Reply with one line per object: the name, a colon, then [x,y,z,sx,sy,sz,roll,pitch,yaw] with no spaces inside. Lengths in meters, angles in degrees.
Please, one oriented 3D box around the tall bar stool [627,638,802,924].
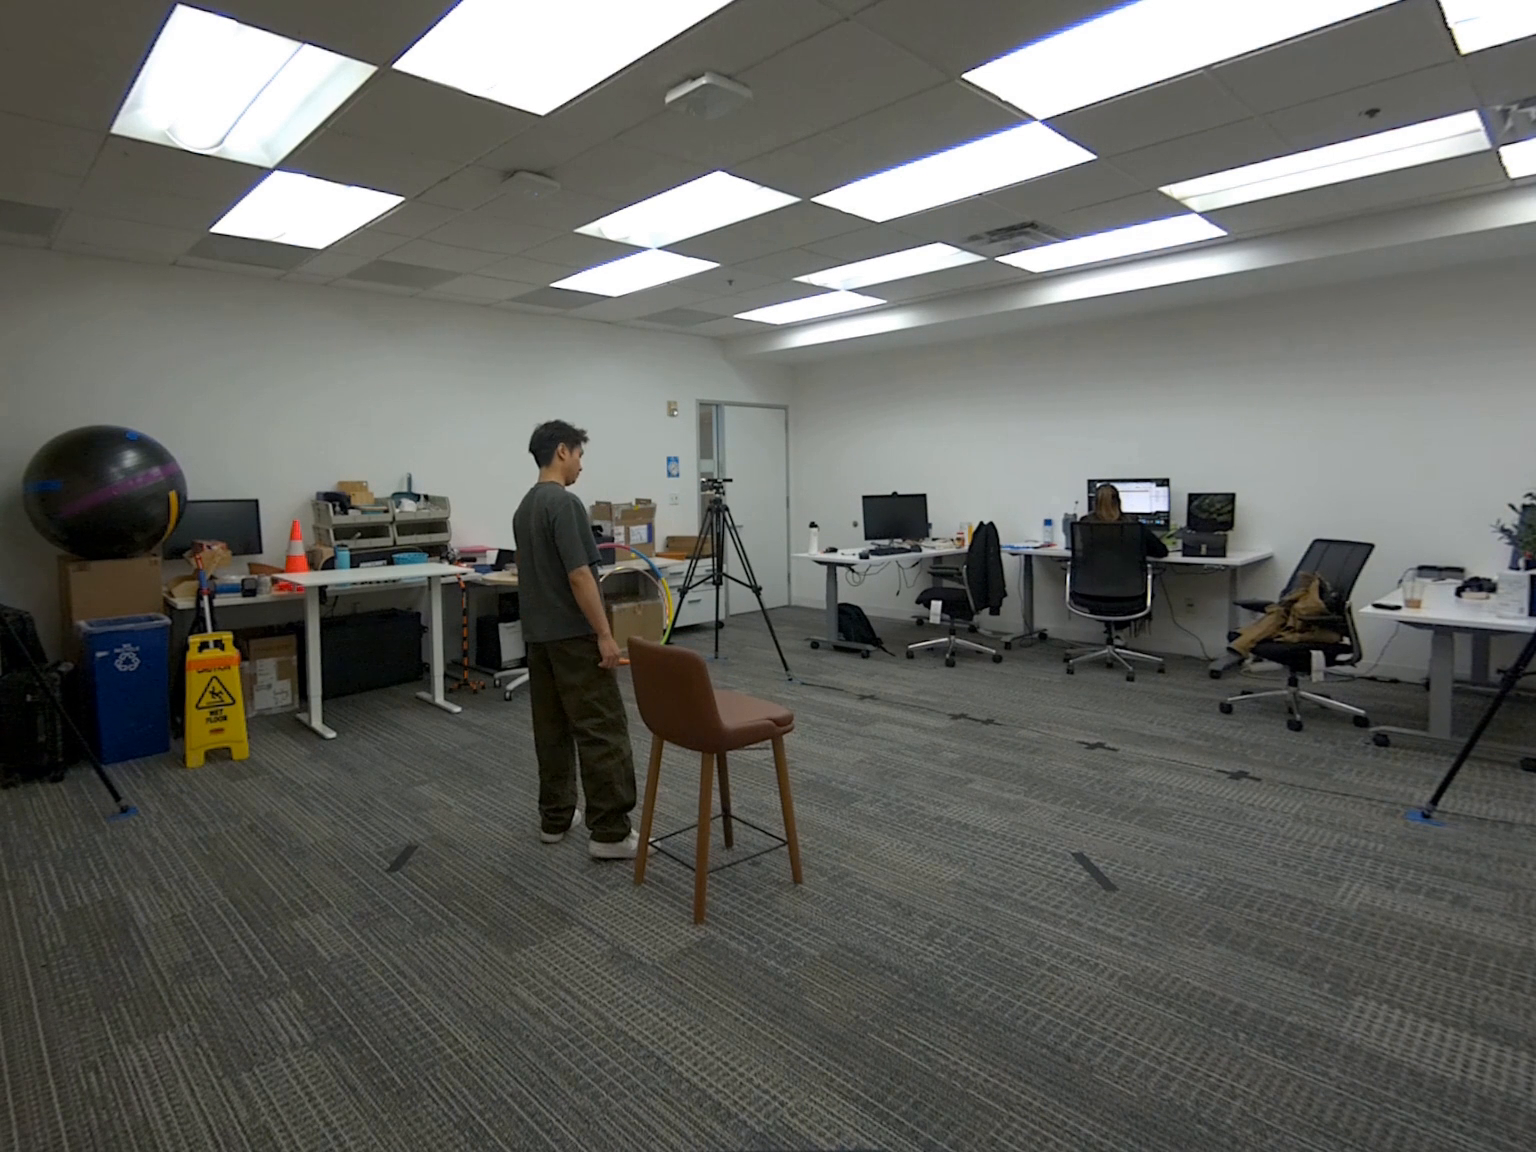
tall bar stool: [-0.188,0.630,2.935,0.456,0.885,0.470,-7,7,-40]
